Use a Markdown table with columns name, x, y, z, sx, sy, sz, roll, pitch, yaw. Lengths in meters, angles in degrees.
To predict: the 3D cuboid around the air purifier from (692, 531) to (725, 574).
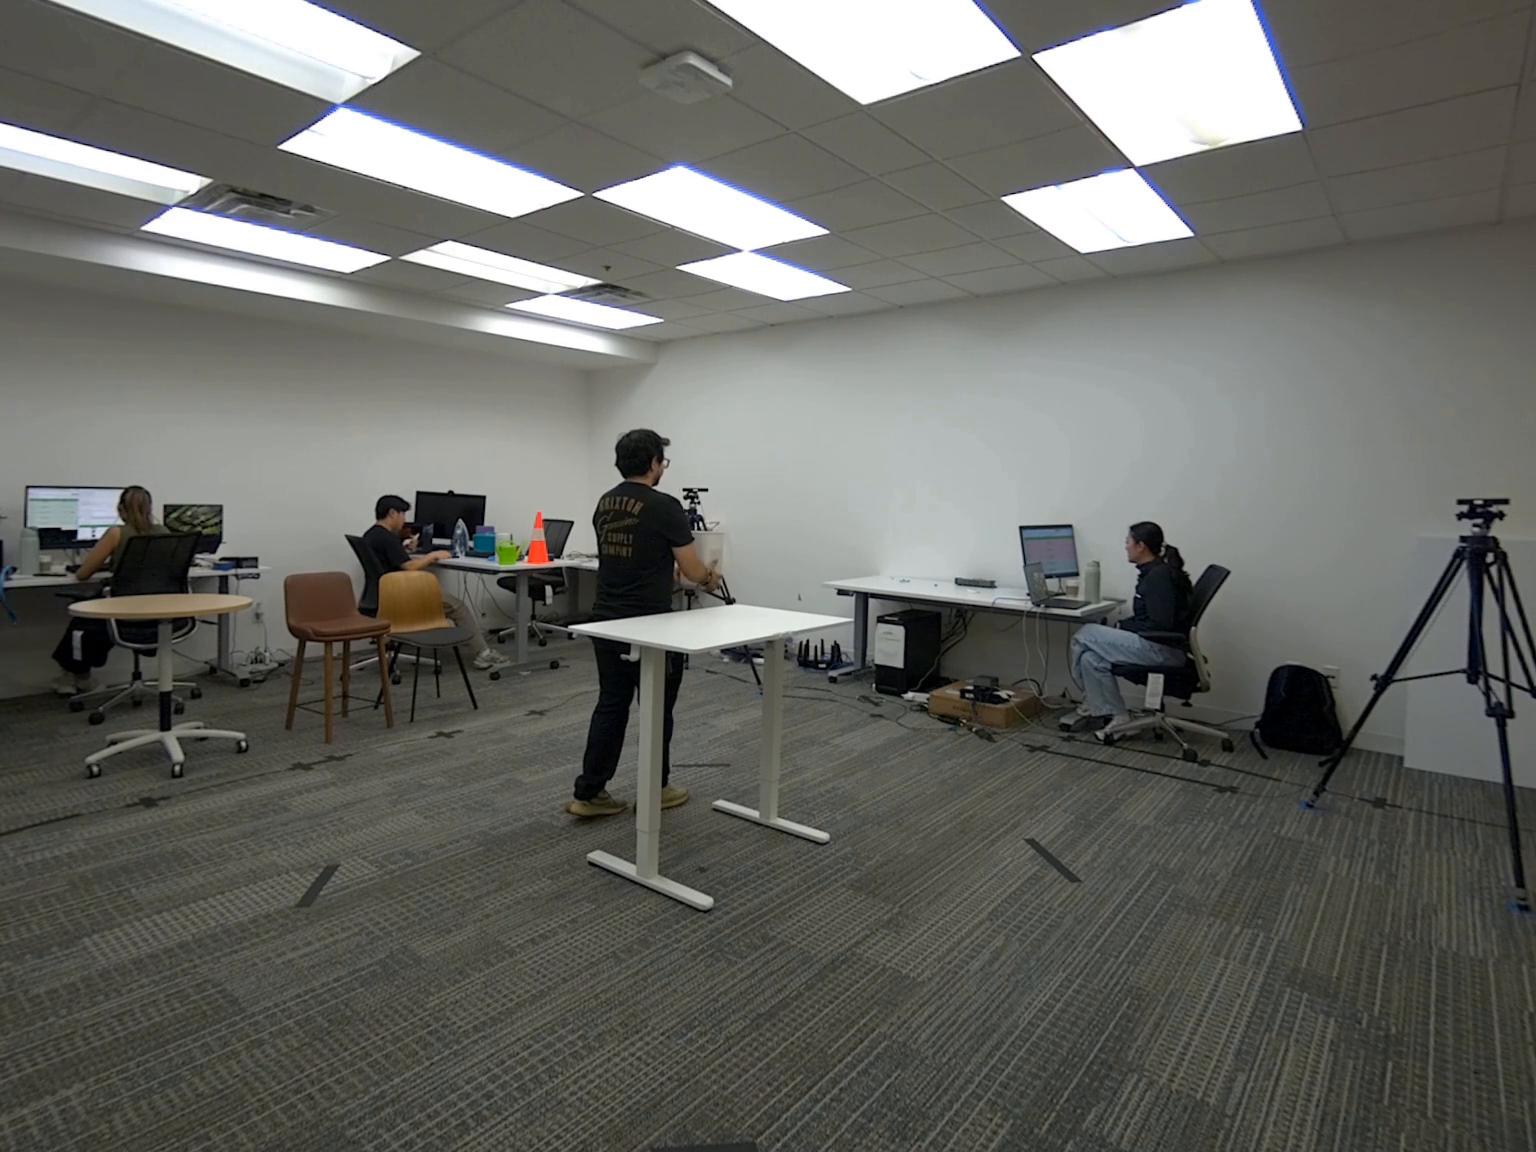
| name | x | y | z | sx | sy | sz | roll | pitch | yaw |
| --- | --- | --- | --- | --- | --- | --- | --- | --- | --- |
| air purifier | -0.325 | -0.079 | 3.983 | 0.177 | 0.265 | 0.166 | 5 | 4 | 36 |
